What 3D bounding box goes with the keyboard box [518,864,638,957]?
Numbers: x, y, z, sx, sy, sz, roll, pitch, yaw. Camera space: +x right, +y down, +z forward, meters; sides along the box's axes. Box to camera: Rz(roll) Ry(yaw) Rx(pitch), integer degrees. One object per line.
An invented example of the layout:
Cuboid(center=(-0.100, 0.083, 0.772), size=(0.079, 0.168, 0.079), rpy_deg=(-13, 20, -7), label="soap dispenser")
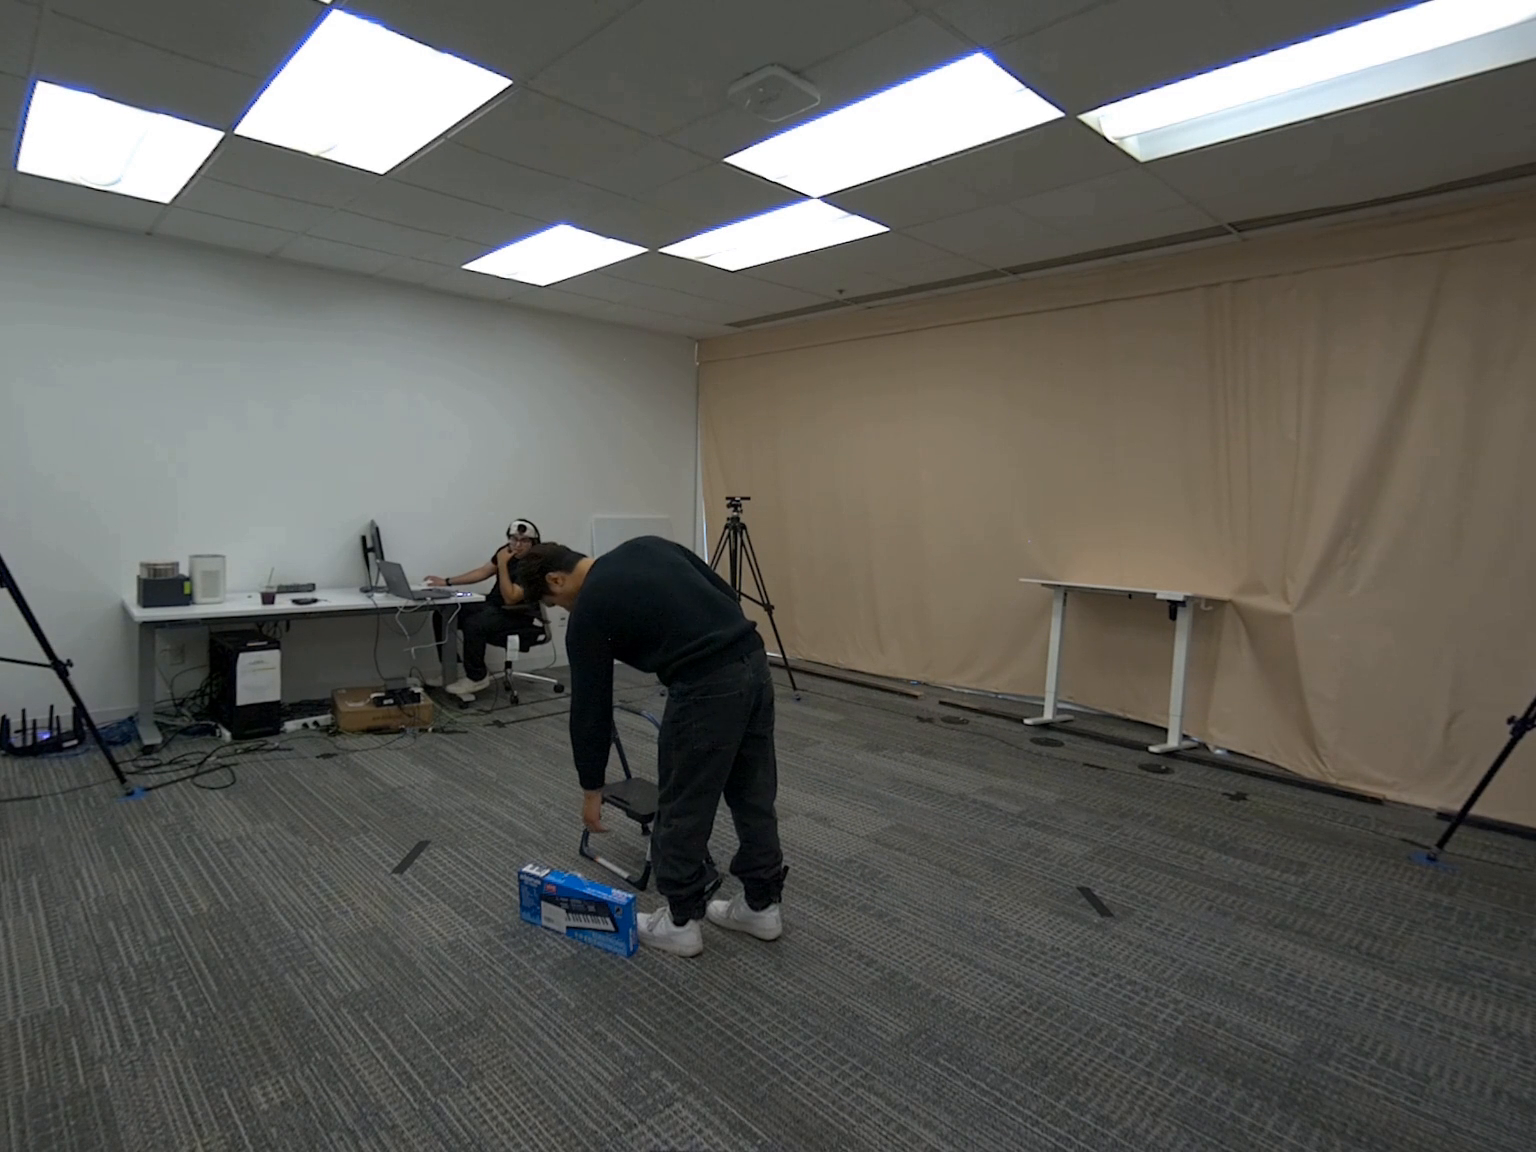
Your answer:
Cuboid(center=(-0.611, 1.047, 2.658), size=(0.446, 0.175, 0.058), rpy_deg=(4, 10, 30), label="keyboard box")
